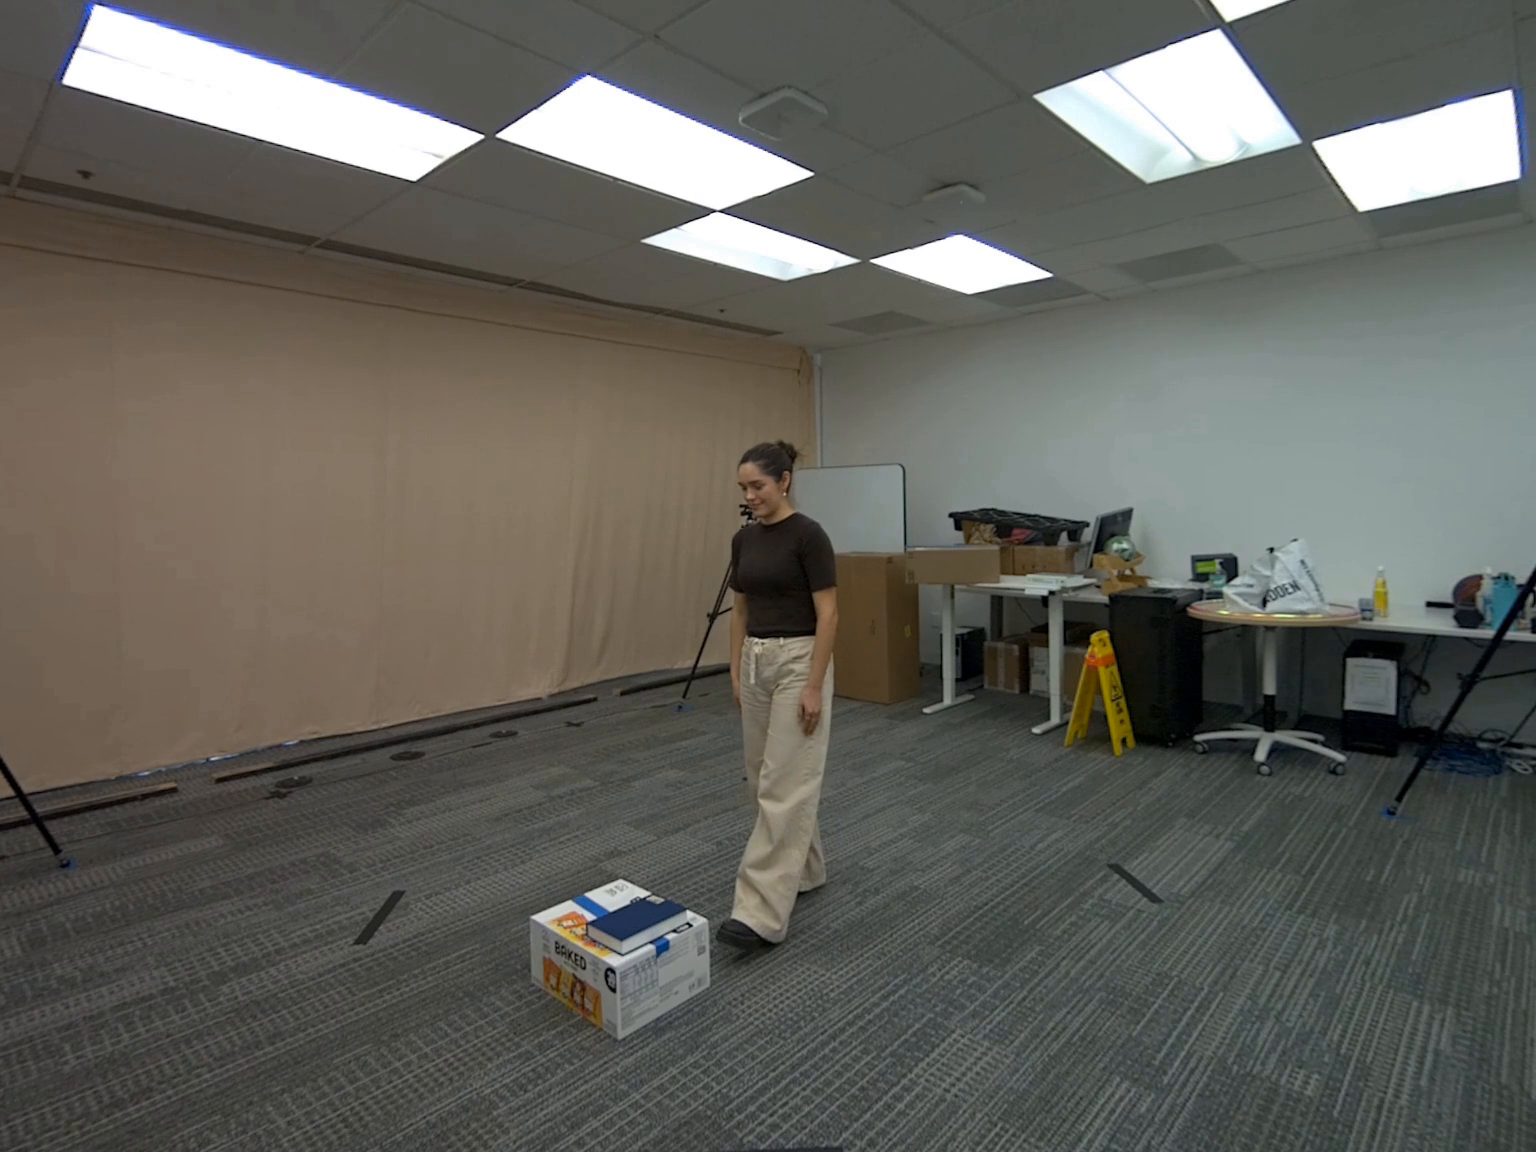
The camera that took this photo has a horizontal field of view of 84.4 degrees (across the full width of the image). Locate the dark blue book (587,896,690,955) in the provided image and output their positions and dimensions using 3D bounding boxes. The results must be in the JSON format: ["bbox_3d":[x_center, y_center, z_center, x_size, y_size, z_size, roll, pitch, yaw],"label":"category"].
[{"bbox_3d":[-0.361,0.979,2.375,0.168,0.045,0.238,0,4,43],"label":"dark blue book"}]
